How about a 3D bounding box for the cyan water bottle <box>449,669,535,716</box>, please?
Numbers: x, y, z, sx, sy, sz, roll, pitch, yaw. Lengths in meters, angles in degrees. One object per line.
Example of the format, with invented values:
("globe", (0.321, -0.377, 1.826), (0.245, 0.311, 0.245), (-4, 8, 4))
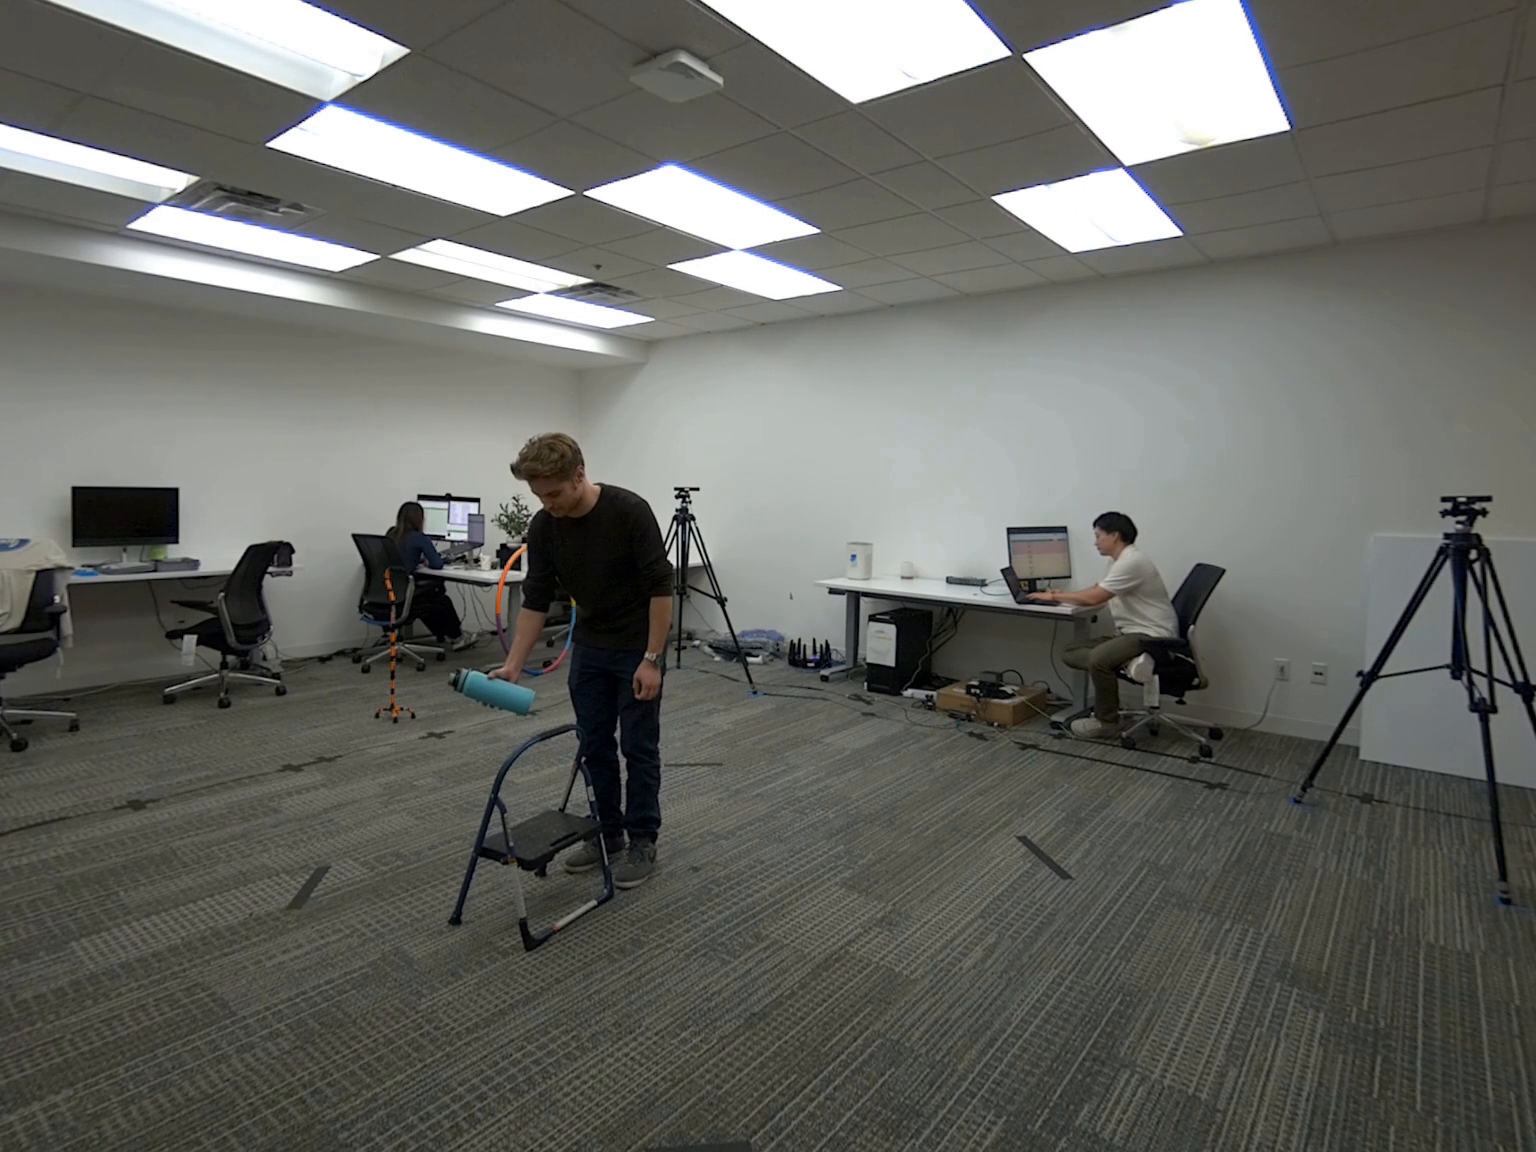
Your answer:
("cyan water bottle", (-0.941, 0.390, 2.850), (0.281, 0.092, 0.093), (21, 1, -6))
